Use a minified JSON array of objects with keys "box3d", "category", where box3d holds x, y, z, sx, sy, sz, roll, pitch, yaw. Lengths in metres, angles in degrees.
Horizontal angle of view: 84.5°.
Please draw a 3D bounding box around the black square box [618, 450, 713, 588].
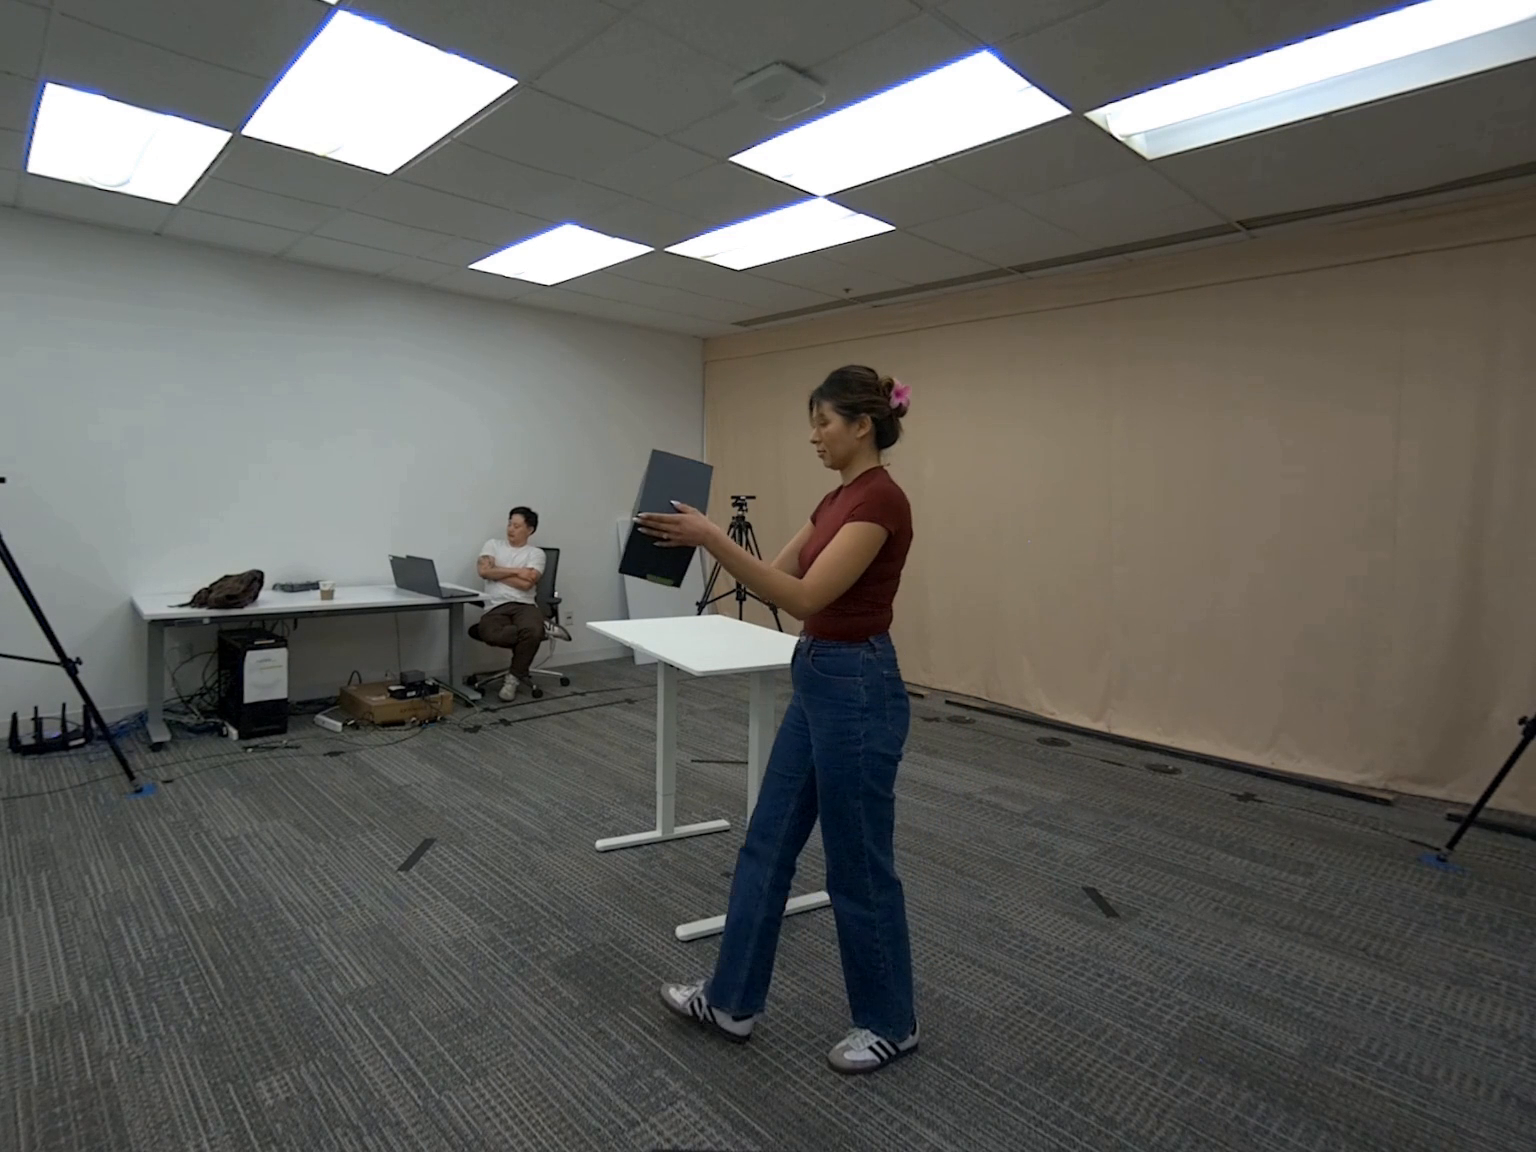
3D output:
[{"box3d":[-0.249,-0.136,2.028,0.154,0.232,0.215,15,-43,-12],"category":"black square box"}]
